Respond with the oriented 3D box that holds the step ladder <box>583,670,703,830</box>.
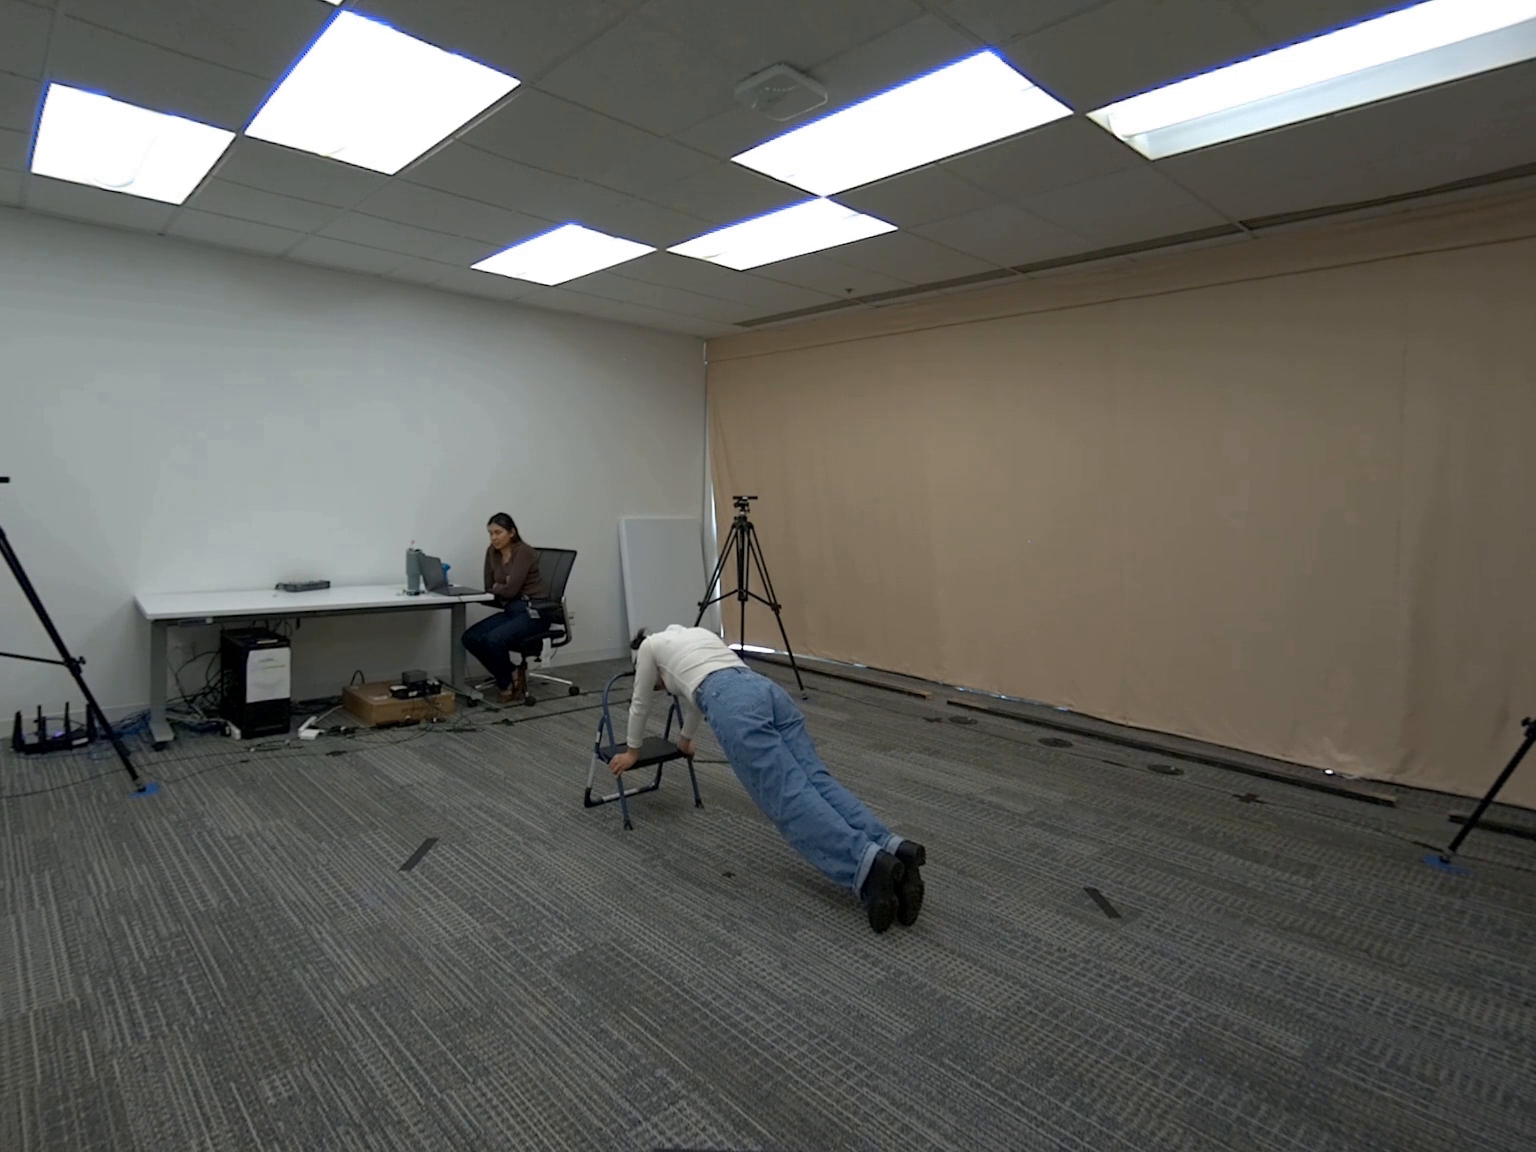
[{"bbox_3d":[-0.558,0.737,3.755,0.358,0.605,0.421,5,5,45],"label":"step ladder"}]
